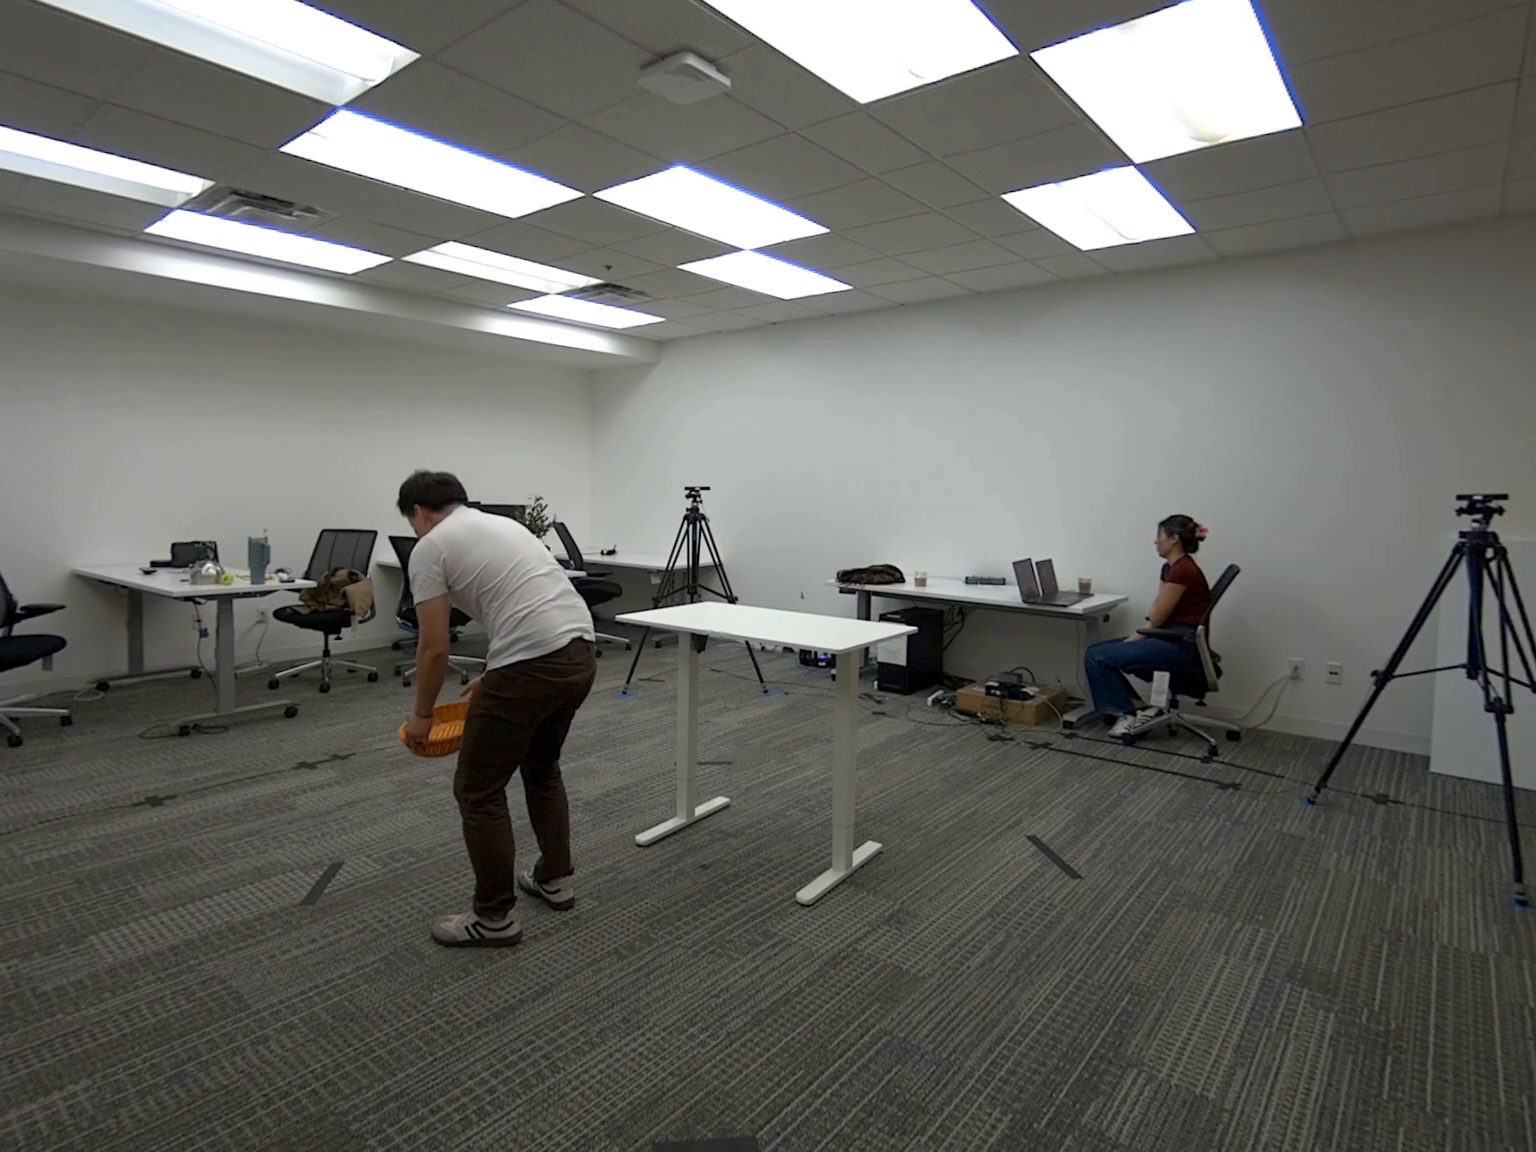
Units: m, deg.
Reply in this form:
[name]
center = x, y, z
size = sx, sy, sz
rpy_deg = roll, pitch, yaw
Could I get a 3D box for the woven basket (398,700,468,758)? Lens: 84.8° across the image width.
[woven basket]
center = -1.097, 0.523, 2.838
size = 0.257, 0.073, 0.347
rpy_deg = 2, 12, 16
